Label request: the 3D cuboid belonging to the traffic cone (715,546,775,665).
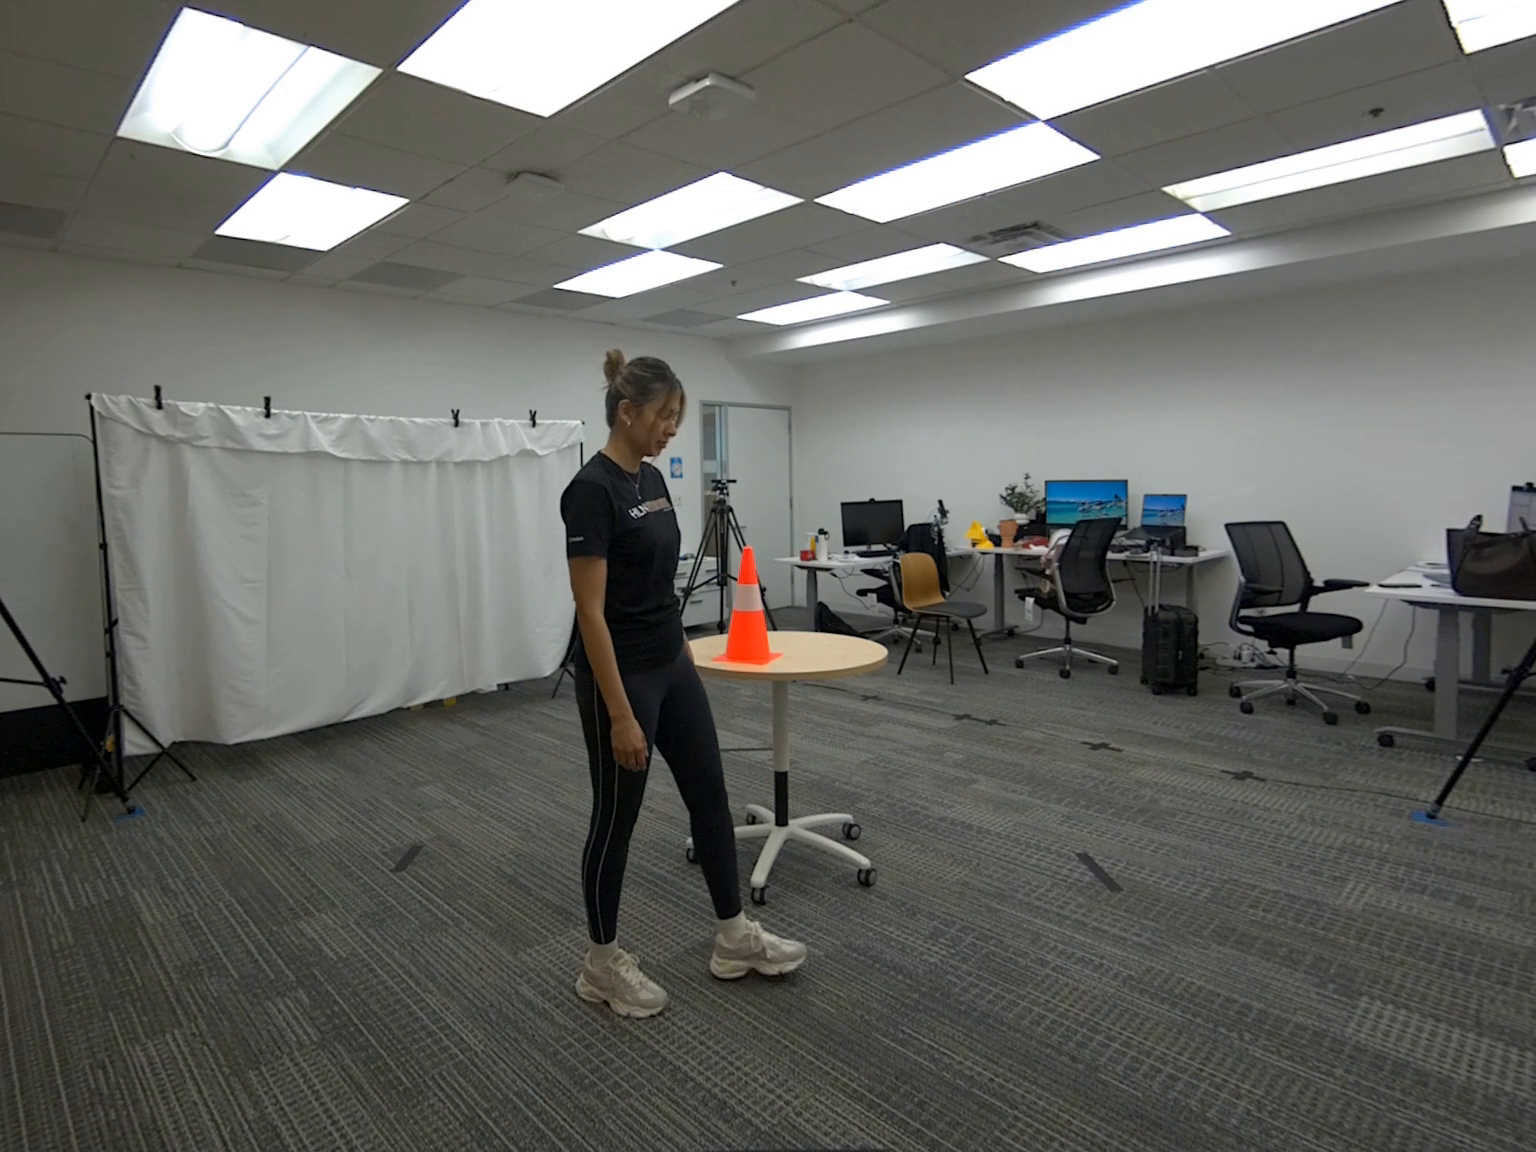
[{"bbox_3d":[-0.072,0.097,2.929,0.208,0.382,0.201,1,6,24],"label":"traffic cone"}]
